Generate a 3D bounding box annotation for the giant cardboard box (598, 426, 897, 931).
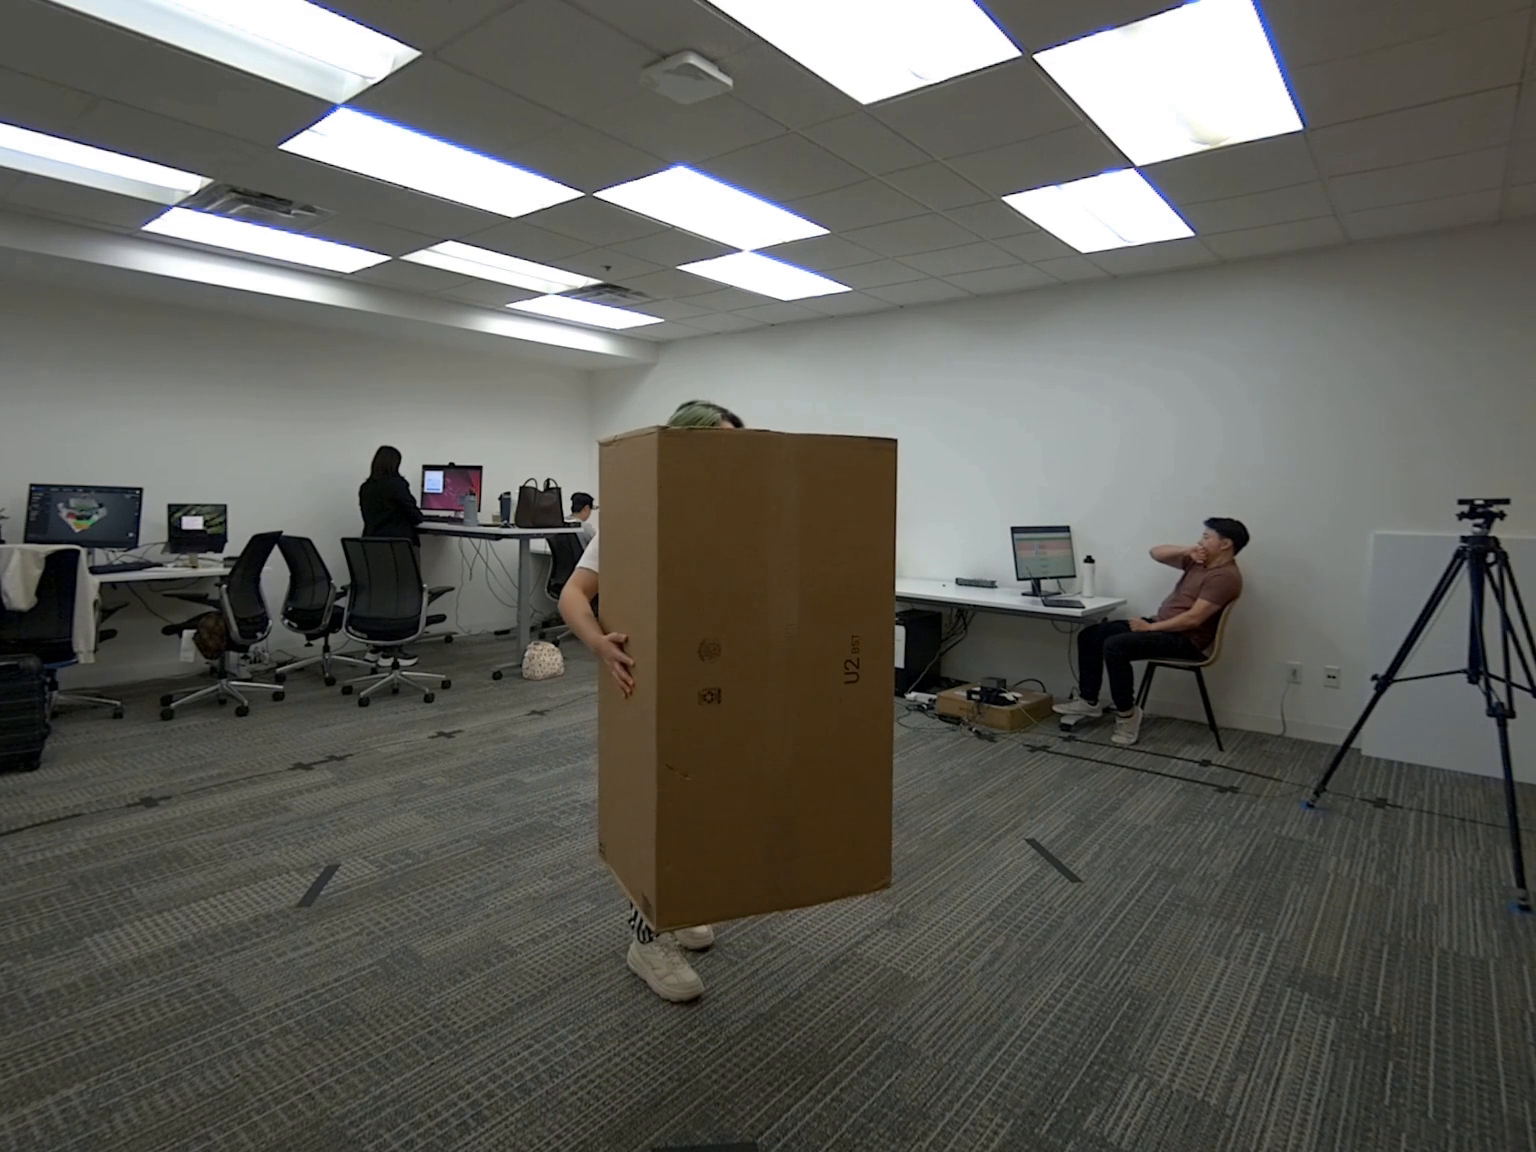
[{"bbox_3d":[-0.065,0.191,1.989,0.569,1.025,0.459,0,3,-27],"label":"giant cardboard box"}]
